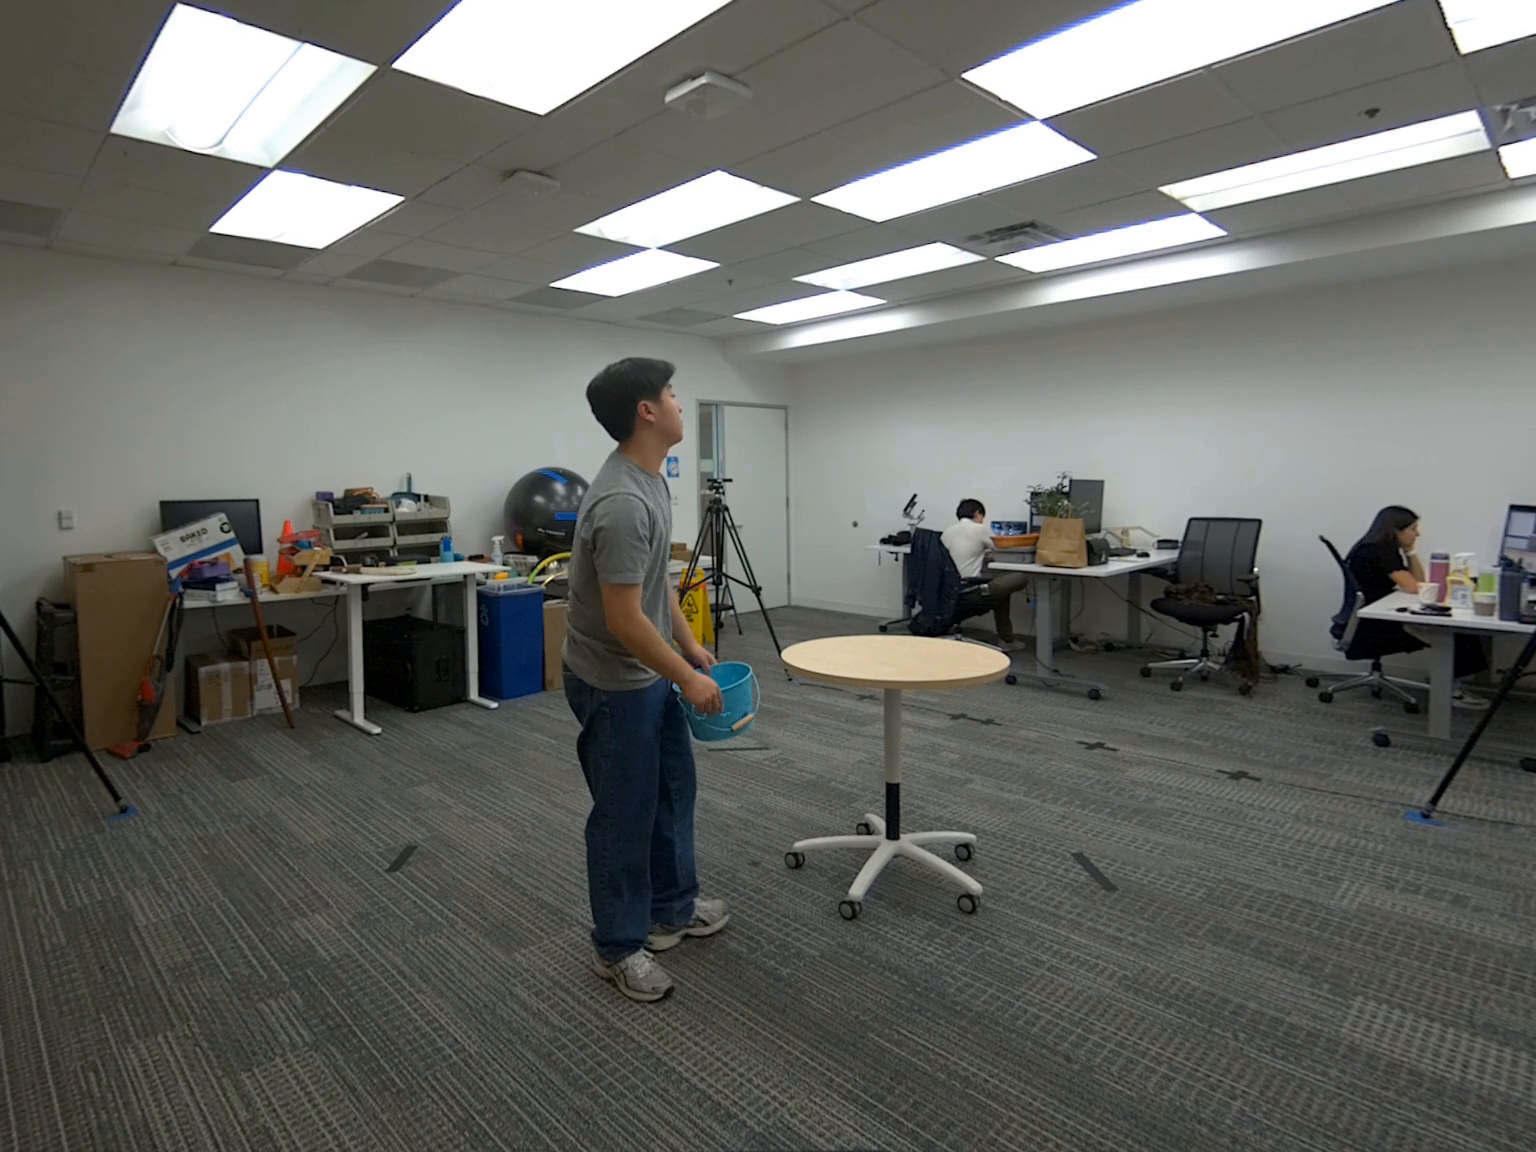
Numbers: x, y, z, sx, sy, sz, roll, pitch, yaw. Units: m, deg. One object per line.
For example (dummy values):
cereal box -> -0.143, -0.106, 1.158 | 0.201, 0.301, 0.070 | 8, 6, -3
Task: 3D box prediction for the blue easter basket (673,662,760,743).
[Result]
blue easter basket -> -0.149, 0.373, 2.417 | 0.244, 0.154, 0.246 | -12, 11, 0
